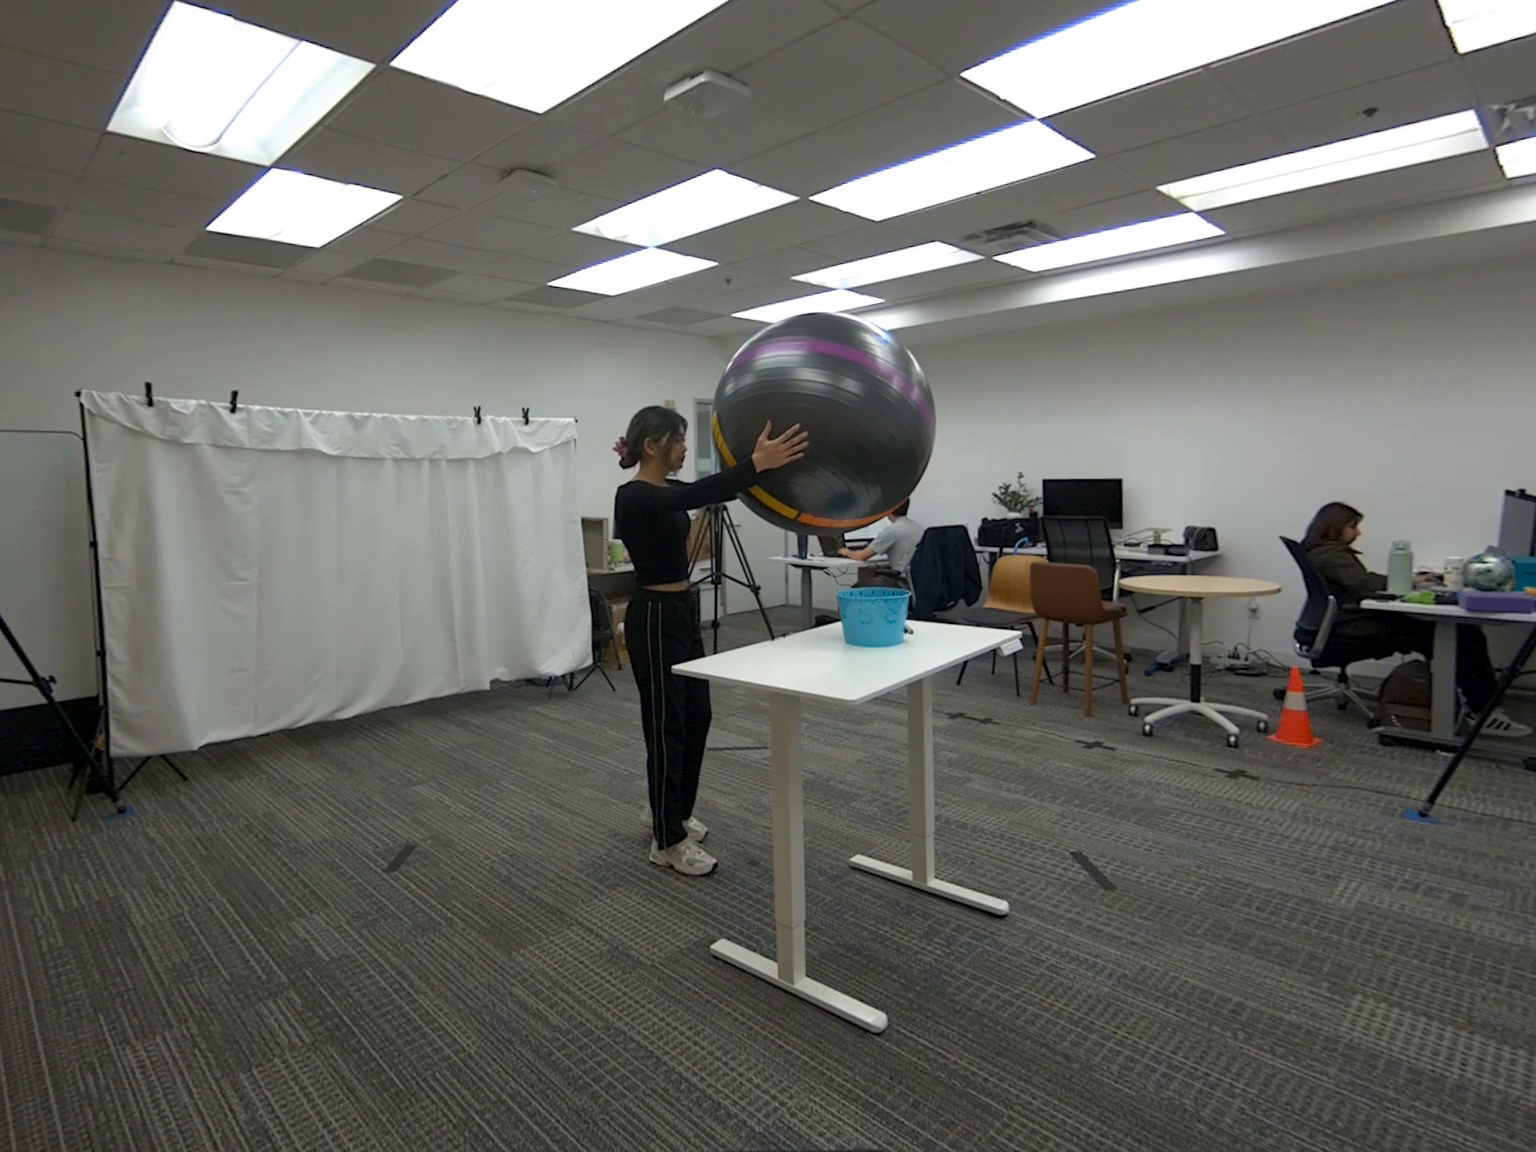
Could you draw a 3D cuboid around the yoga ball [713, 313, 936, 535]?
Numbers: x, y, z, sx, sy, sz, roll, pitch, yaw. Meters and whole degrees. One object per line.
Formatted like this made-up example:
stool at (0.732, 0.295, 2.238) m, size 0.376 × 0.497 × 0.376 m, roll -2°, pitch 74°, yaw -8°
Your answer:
yoga ball at (0.187, -0.508, 2.919) m, size 0.757 × 0.755 × 0.762 m, roll -1°, pitch 5°, yaw -2°
